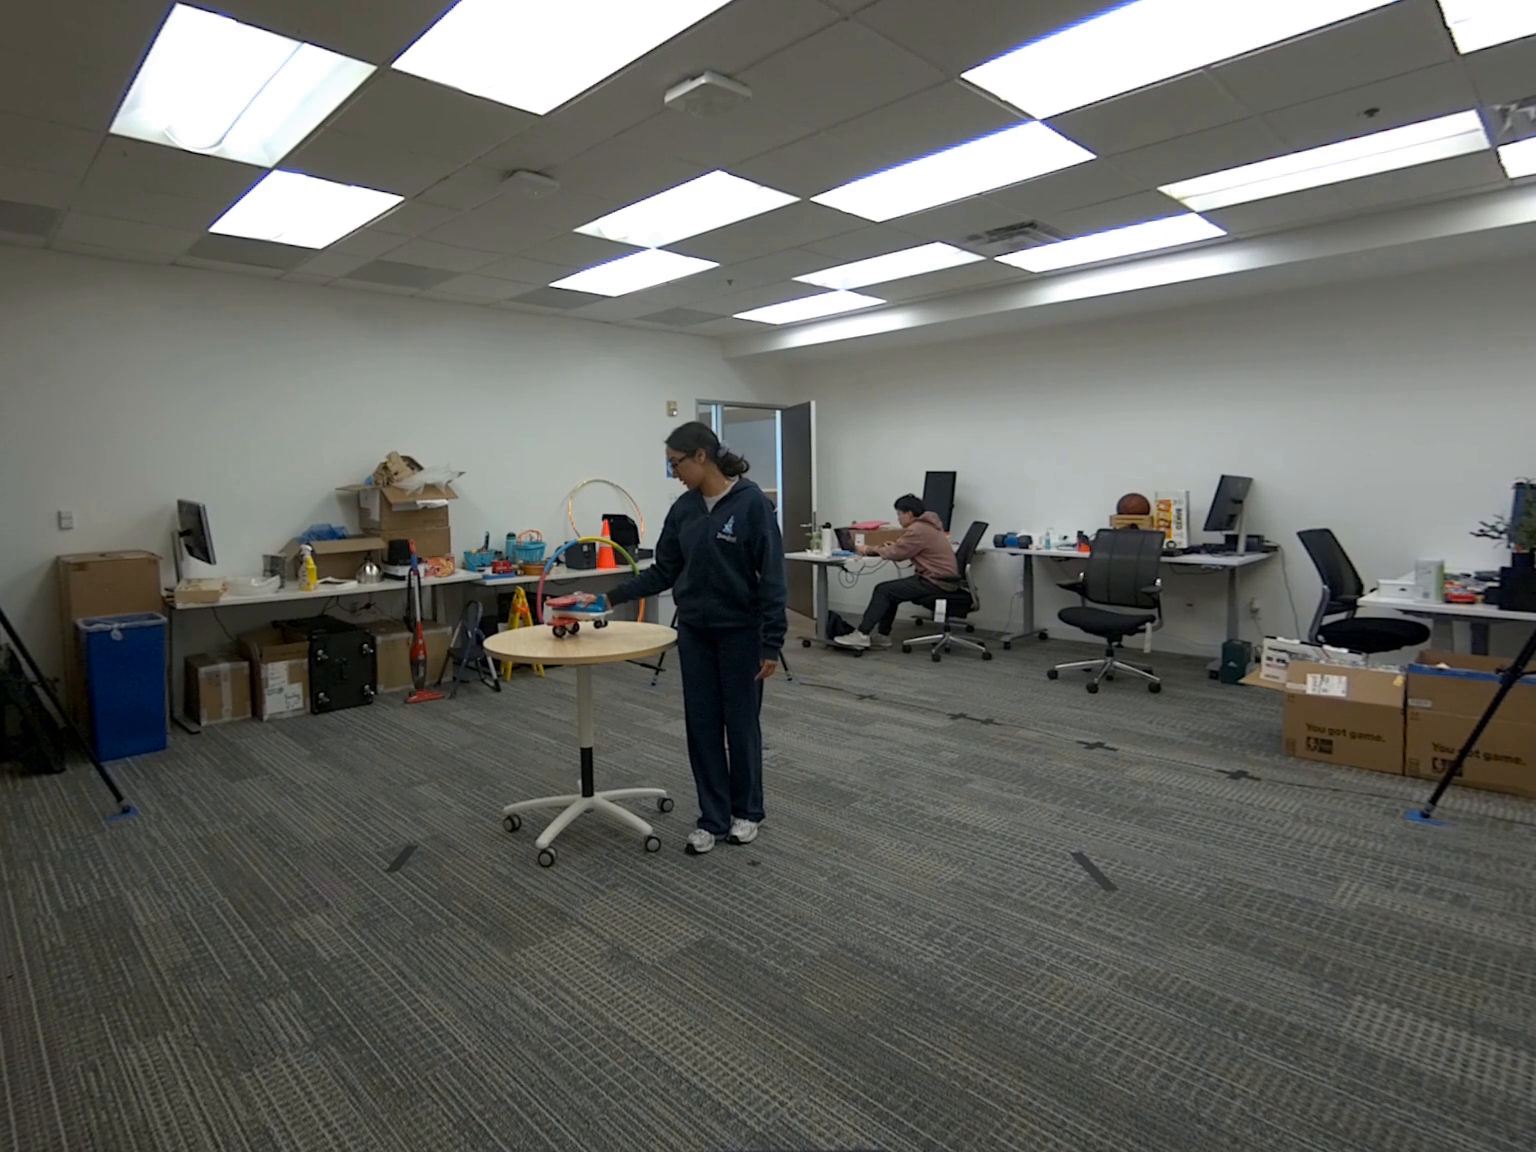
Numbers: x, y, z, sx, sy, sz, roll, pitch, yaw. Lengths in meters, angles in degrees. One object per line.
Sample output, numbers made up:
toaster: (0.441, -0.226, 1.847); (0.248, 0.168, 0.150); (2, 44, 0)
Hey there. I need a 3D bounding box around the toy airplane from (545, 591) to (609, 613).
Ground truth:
toy airplane: (-0.737, 0.145, 3.412); (0.259, 0.157, 0.250); (-13, -1, -1)
